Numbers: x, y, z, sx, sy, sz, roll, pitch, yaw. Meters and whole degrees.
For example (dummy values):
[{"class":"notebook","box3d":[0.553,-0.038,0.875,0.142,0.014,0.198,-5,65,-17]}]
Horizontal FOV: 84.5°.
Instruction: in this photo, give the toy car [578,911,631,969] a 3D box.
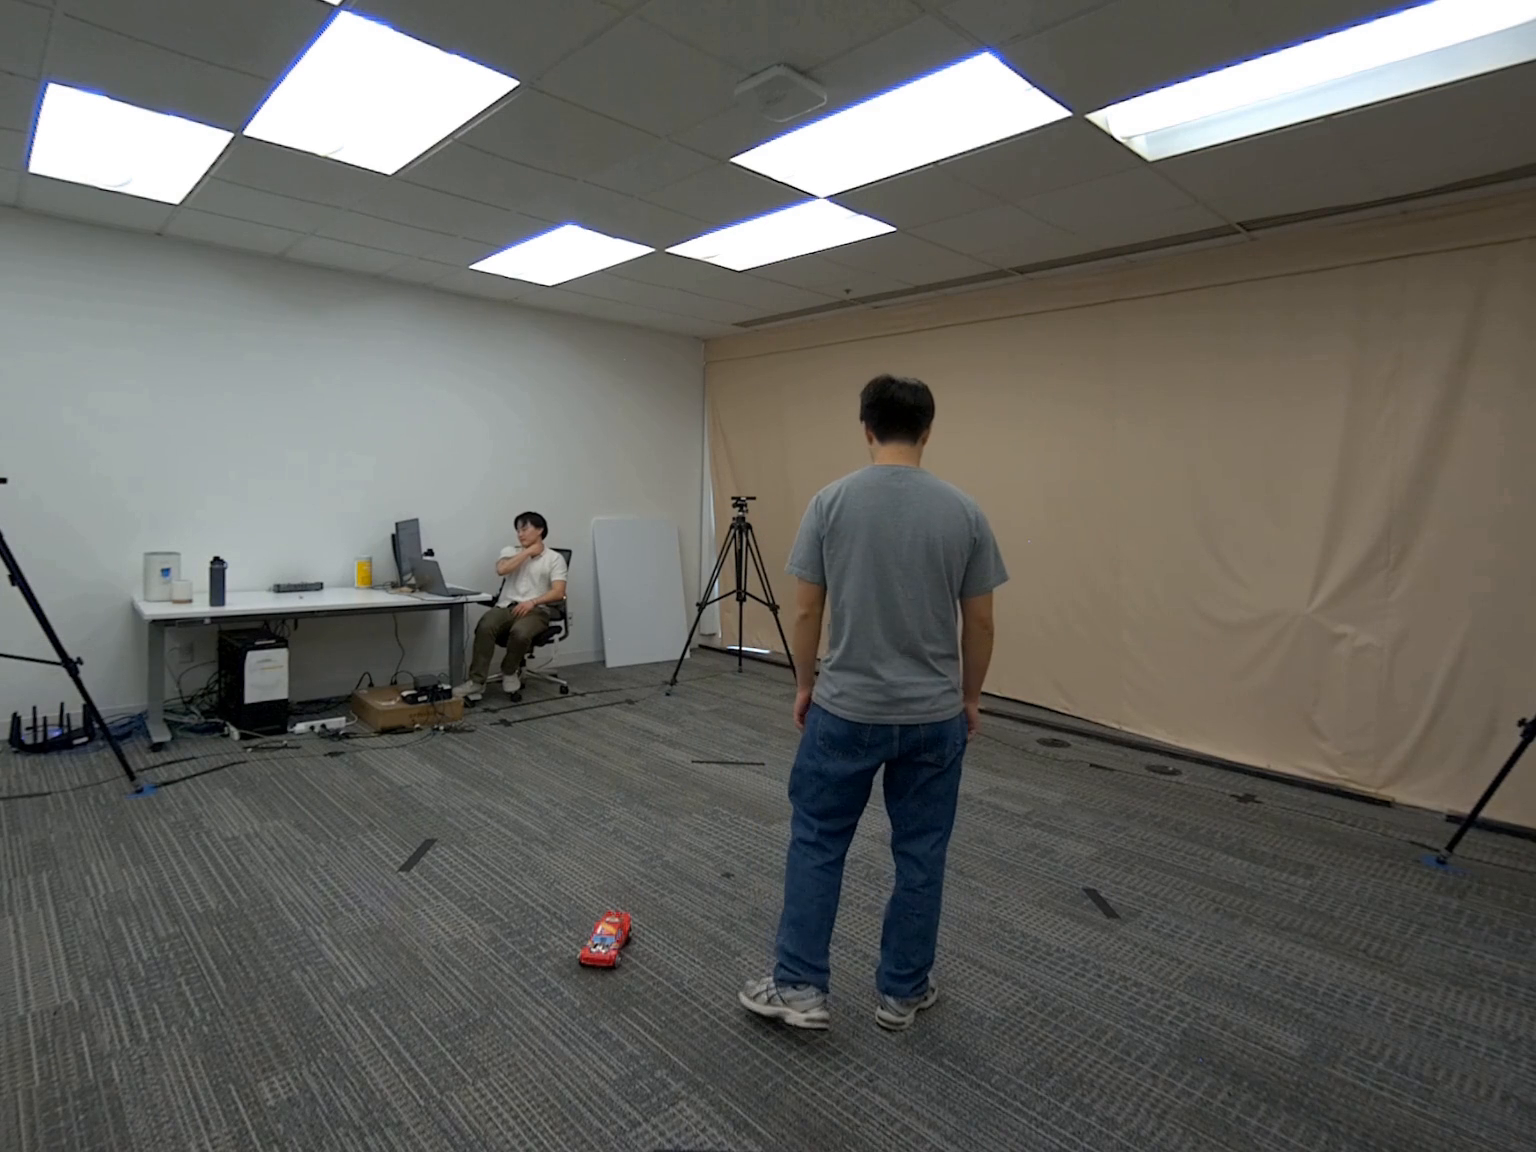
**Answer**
[{"class":"toy car","box3d":[-0.499,1.118,2.571,0.131,0.082,0.256,1,16,6]}]
